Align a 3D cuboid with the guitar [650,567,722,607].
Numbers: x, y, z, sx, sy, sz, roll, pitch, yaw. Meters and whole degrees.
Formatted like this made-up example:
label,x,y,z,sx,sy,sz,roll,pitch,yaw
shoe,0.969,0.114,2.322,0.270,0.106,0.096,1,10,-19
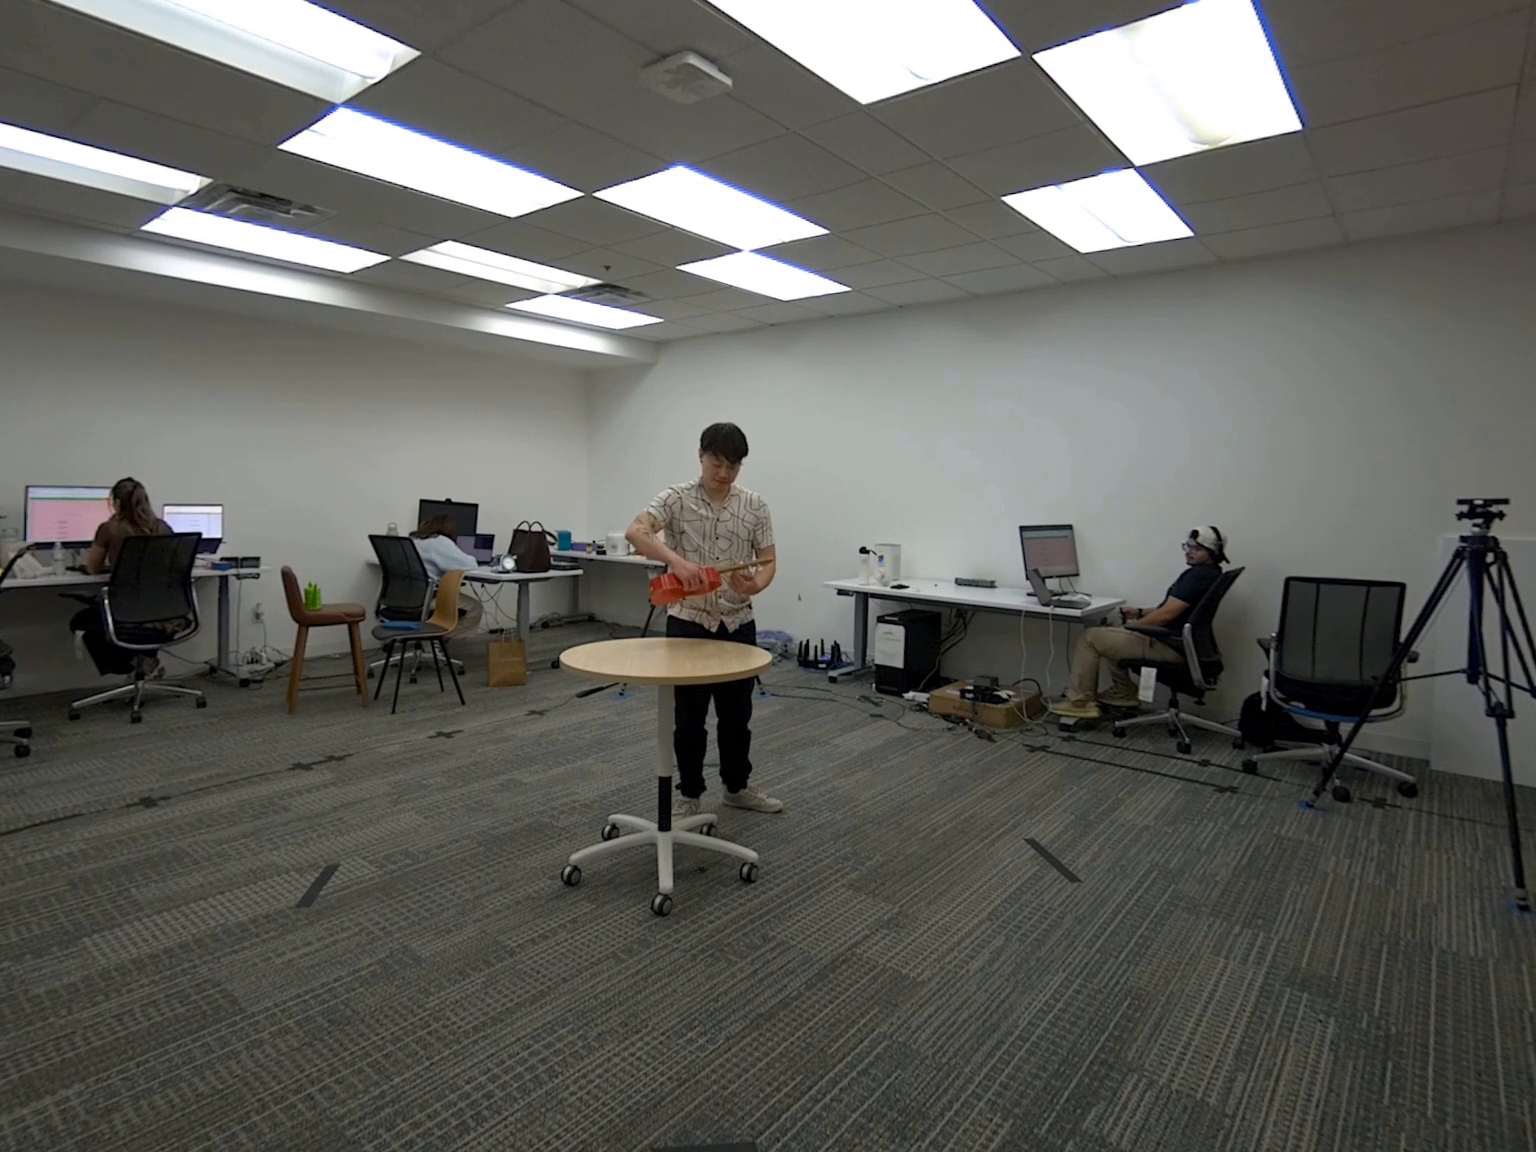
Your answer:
label,x,y,z,sx,sy,sz,roll,pitch,yaw
guitar,-0.219,0.004,3.238,0.495,0.072,0.190,-13,-17,-6
